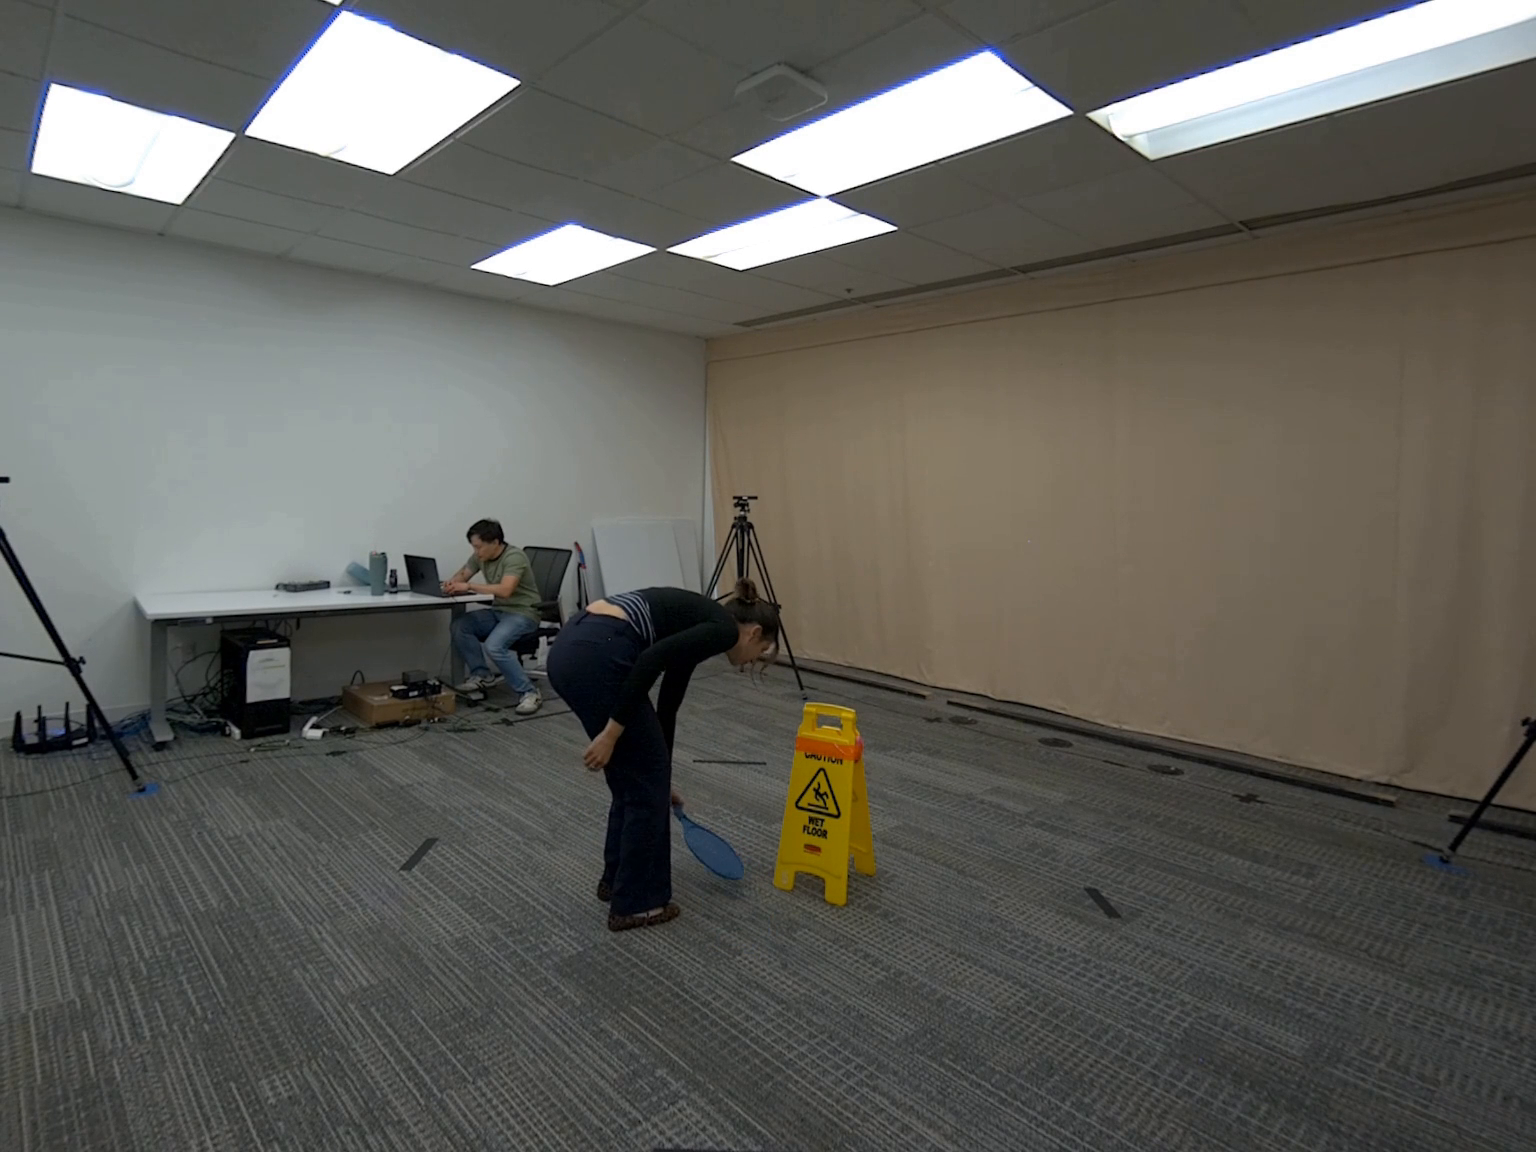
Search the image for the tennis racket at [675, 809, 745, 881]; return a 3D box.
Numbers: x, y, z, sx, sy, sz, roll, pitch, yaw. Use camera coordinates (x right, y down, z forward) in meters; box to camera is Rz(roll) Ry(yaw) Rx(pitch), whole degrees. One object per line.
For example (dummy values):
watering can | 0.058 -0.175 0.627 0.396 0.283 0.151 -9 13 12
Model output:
tennis racket | -0.259 0.959 3.060 0.446 0.031 0.208 37 13 35
